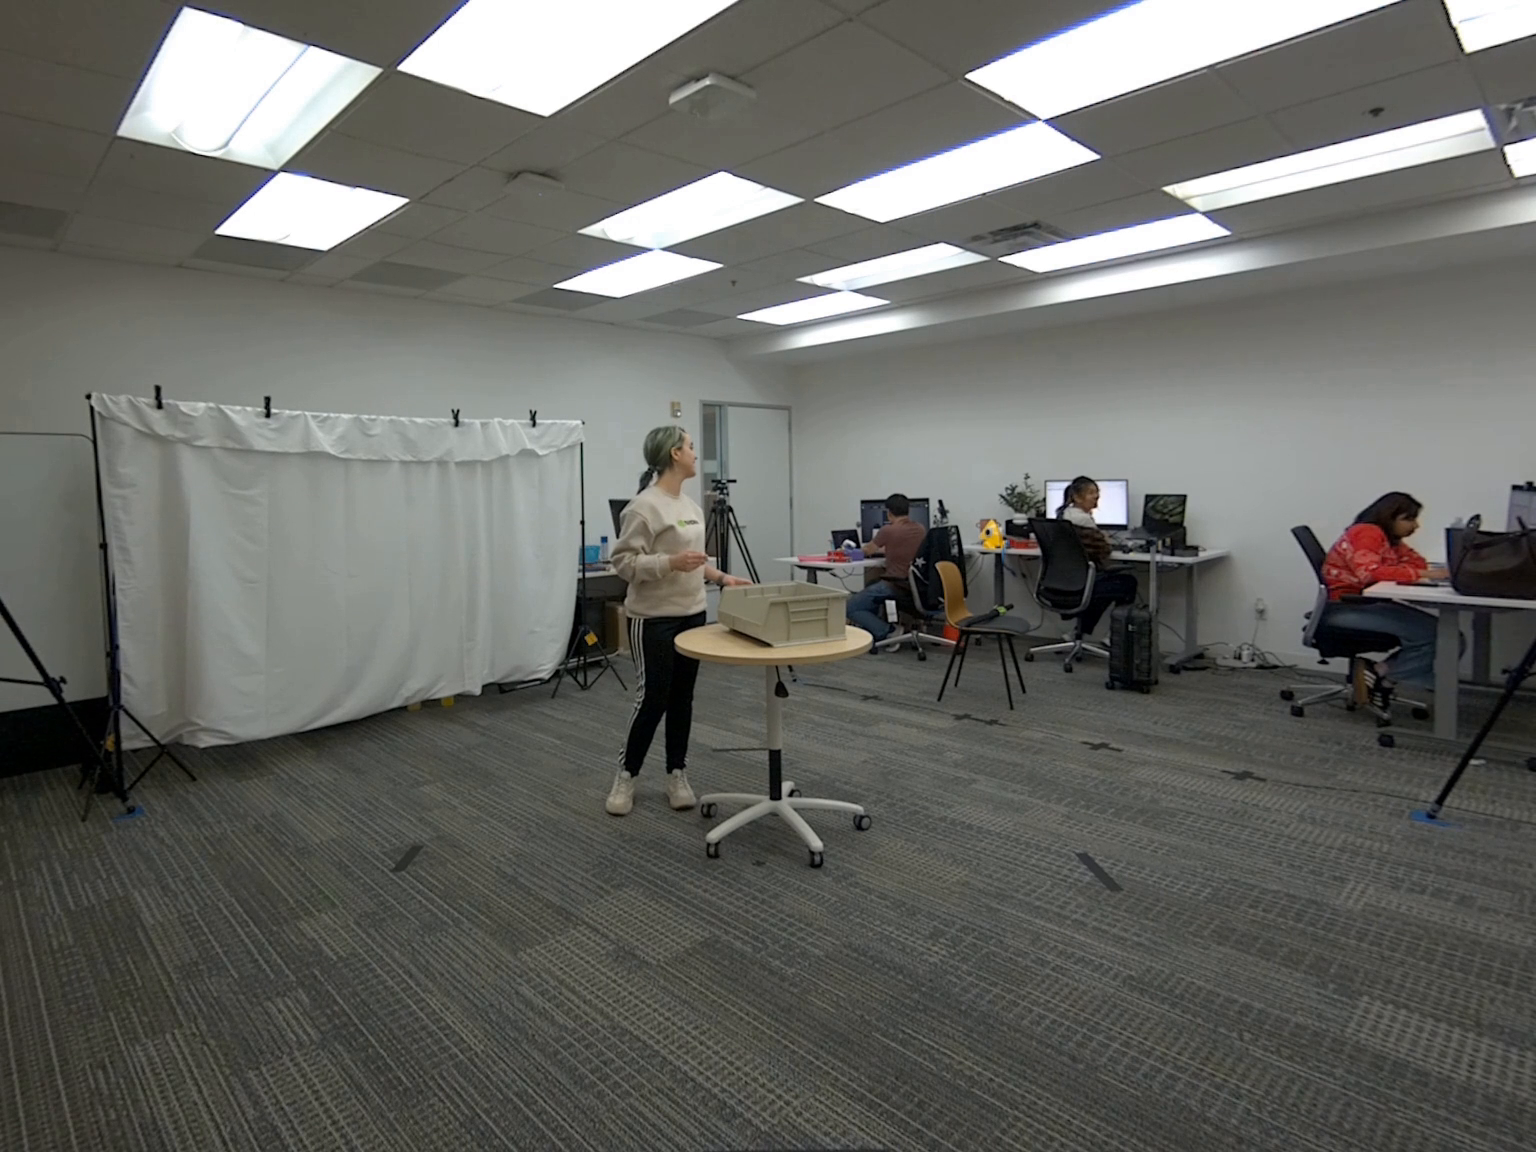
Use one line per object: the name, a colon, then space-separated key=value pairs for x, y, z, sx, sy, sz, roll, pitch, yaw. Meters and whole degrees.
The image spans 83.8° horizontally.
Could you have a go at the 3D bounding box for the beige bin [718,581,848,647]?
beige bin: x=0.056 y=0.145 z=3.342 sx=0.370 sy=0.188 sz=0.432 roll=-3 pitch=5 yaw=-23
